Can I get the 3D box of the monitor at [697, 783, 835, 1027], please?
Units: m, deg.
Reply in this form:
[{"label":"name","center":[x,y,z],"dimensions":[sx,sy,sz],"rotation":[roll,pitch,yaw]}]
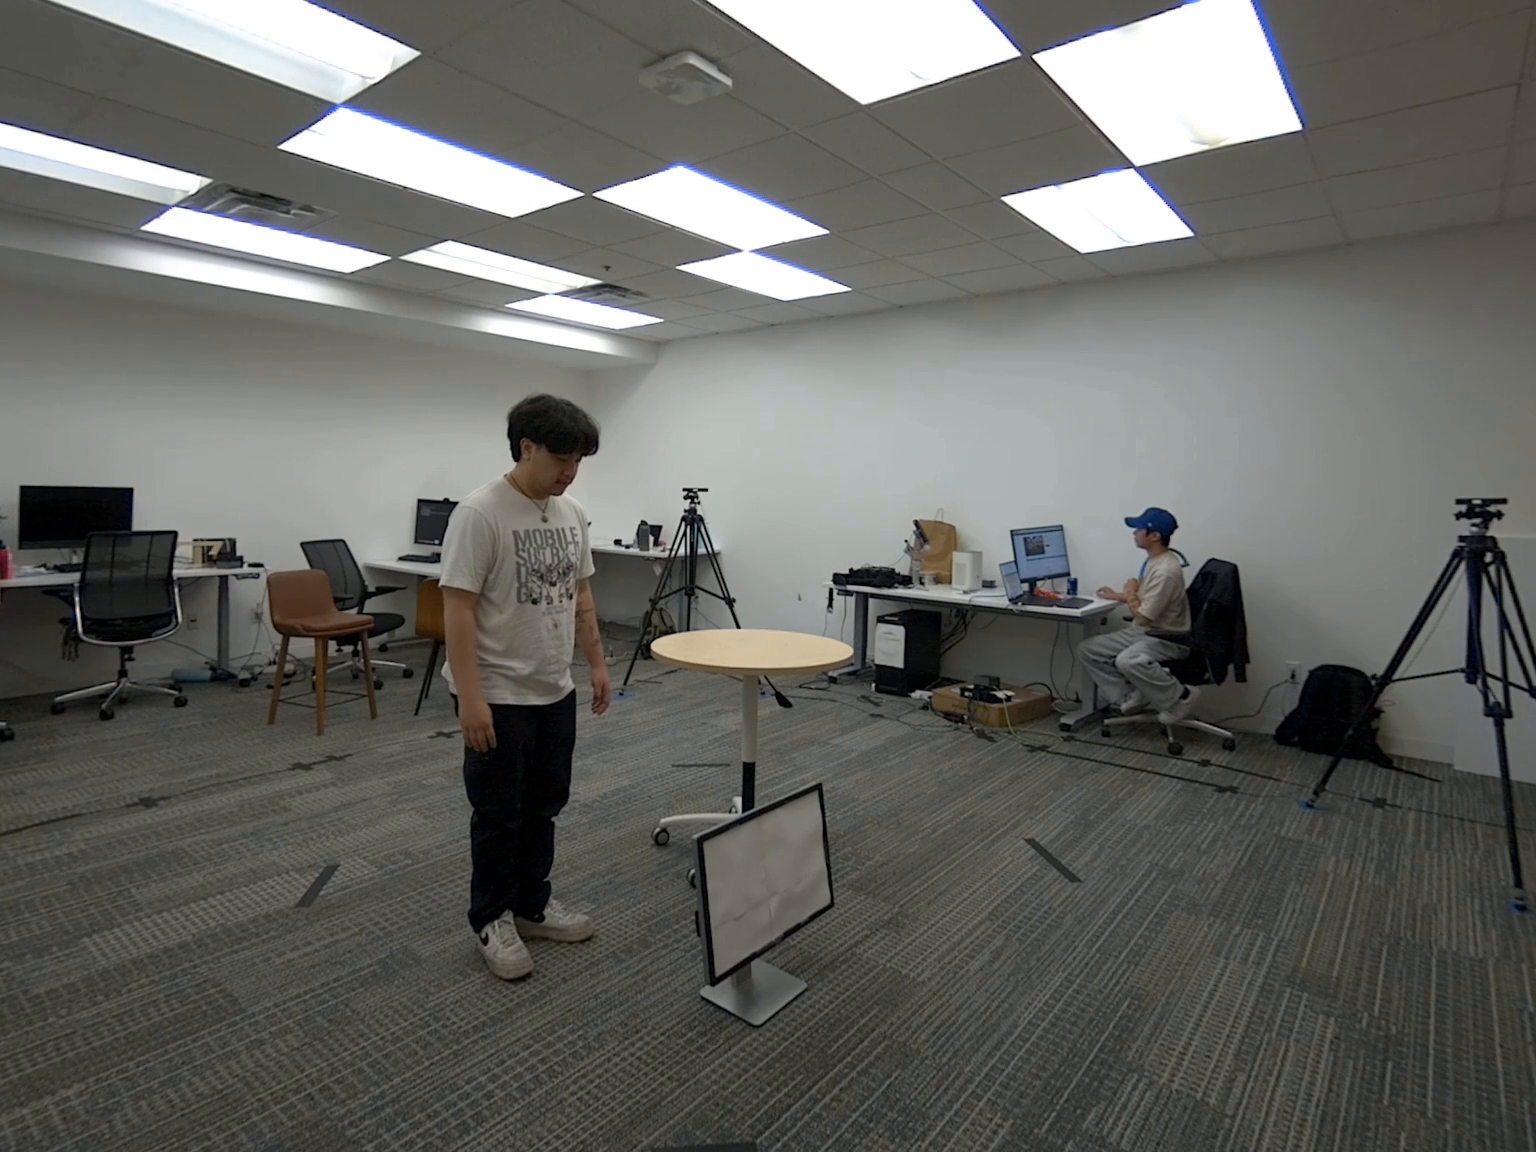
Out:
[{"label":"monitor","center":[-0.049,0.894,2.349],"dimensions":[0.217,0.553,0.549],"rotation":[0,3,40]}]
